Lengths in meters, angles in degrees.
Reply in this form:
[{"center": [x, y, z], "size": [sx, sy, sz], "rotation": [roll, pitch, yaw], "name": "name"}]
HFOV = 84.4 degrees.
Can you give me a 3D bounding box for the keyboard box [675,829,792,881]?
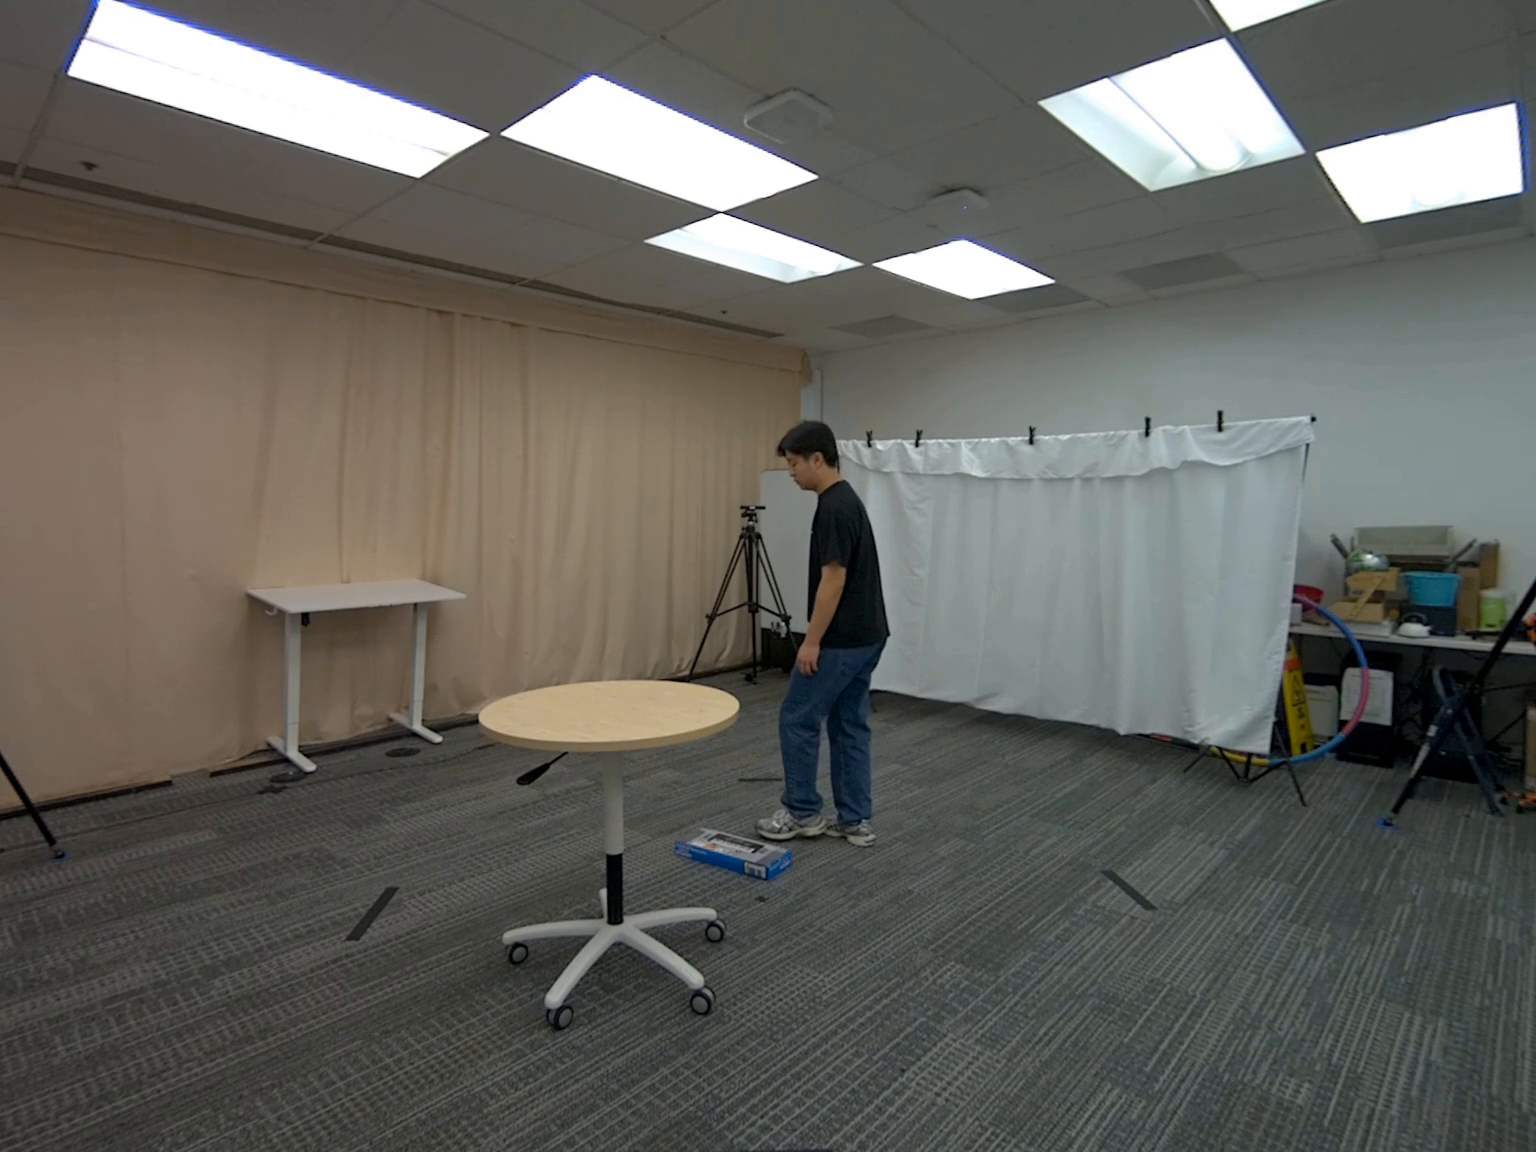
[{"center": [-0.143, 1.089, 3.311], "size": [0.450, 0.059, 0.171], "rotation": [3, 6, 34], "name": "keyboard box"}]
